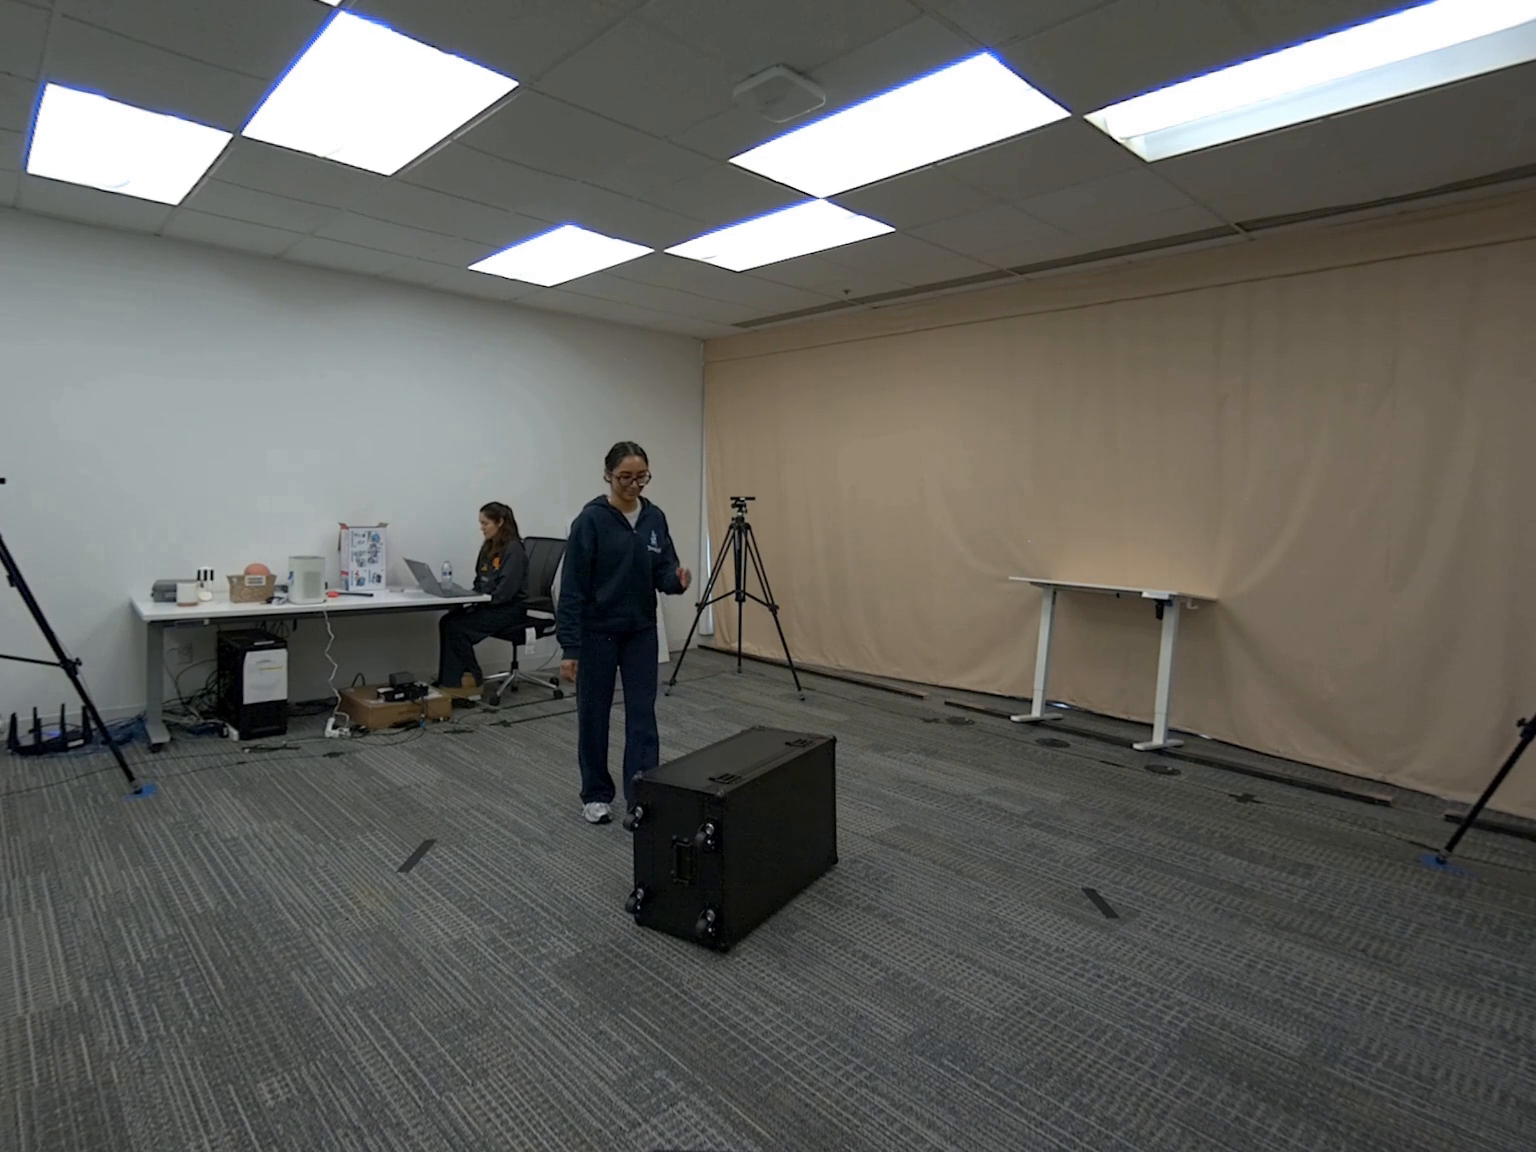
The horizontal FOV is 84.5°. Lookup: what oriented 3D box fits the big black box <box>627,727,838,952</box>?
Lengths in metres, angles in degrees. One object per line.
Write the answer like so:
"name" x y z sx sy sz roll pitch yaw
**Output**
"big black box" -0.120 0.866 2.940 0.405 0.520 0.845 0 3 30
